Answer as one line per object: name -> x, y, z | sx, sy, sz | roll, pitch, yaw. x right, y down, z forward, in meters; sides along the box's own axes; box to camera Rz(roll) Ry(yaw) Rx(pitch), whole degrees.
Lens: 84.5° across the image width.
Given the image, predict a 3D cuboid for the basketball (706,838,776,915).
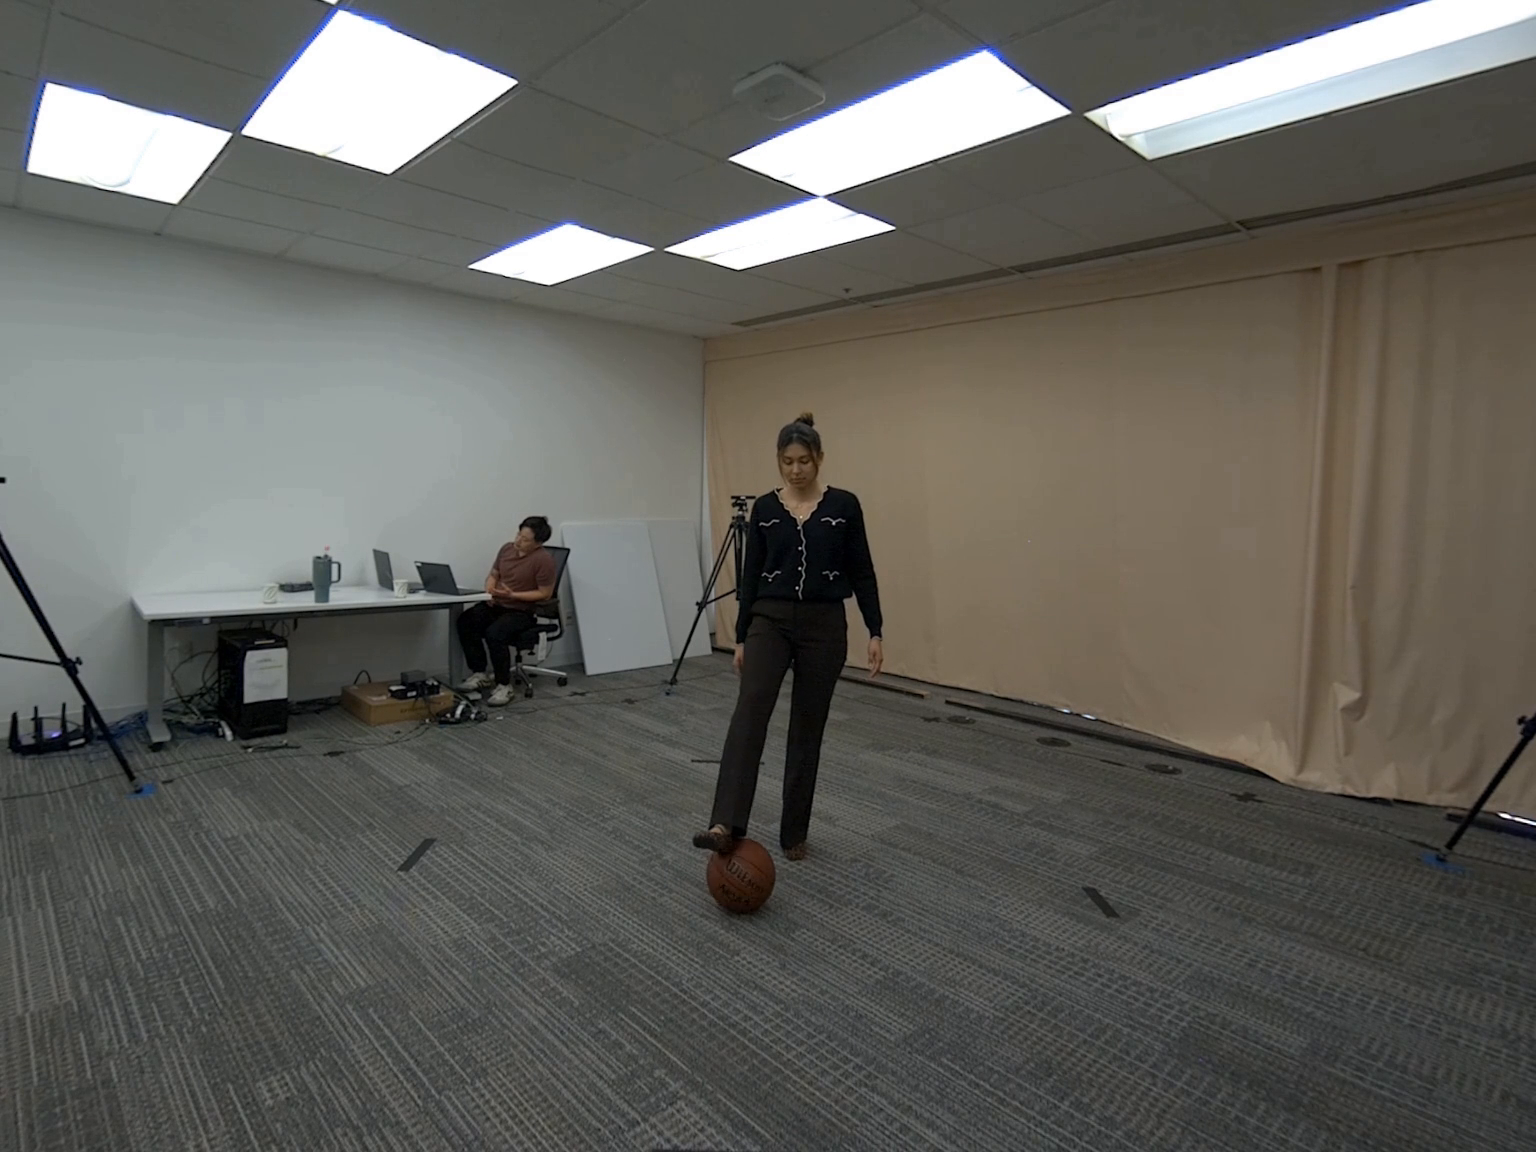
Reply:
basketball -> -0.095, 1.013, 2.856 | 0.236, 0.235, 0.237 | 1, 4, -1
